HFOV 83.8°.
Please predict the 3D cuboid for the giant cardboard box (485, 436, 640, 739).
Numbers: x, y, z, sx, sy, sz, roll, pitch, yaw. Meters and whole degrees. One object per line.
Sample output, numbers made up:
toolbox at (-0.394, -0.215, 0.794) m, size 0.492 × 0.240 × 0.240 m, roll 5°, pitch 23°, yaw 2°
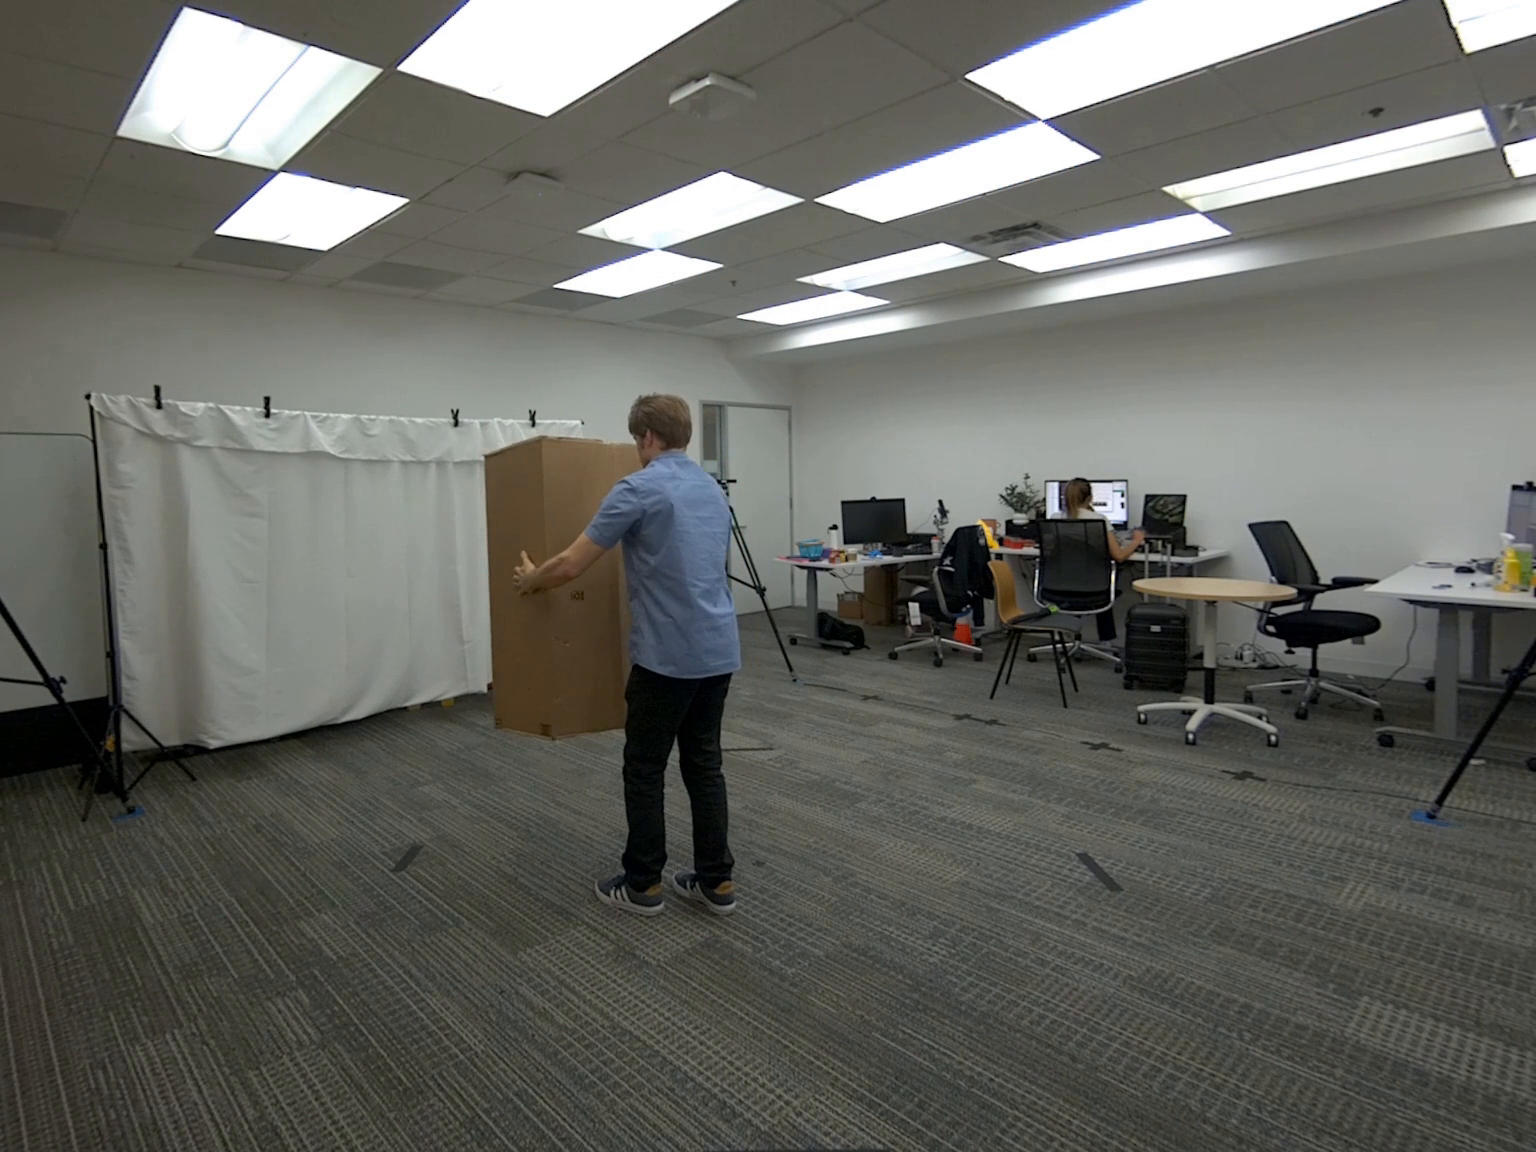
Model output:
giant cardboard box at (-0.689, 0.043, 3.197) m, size 0.561 × 1.029 × 0.437 m, roll 0°, pitch -4°, yaw -43°
